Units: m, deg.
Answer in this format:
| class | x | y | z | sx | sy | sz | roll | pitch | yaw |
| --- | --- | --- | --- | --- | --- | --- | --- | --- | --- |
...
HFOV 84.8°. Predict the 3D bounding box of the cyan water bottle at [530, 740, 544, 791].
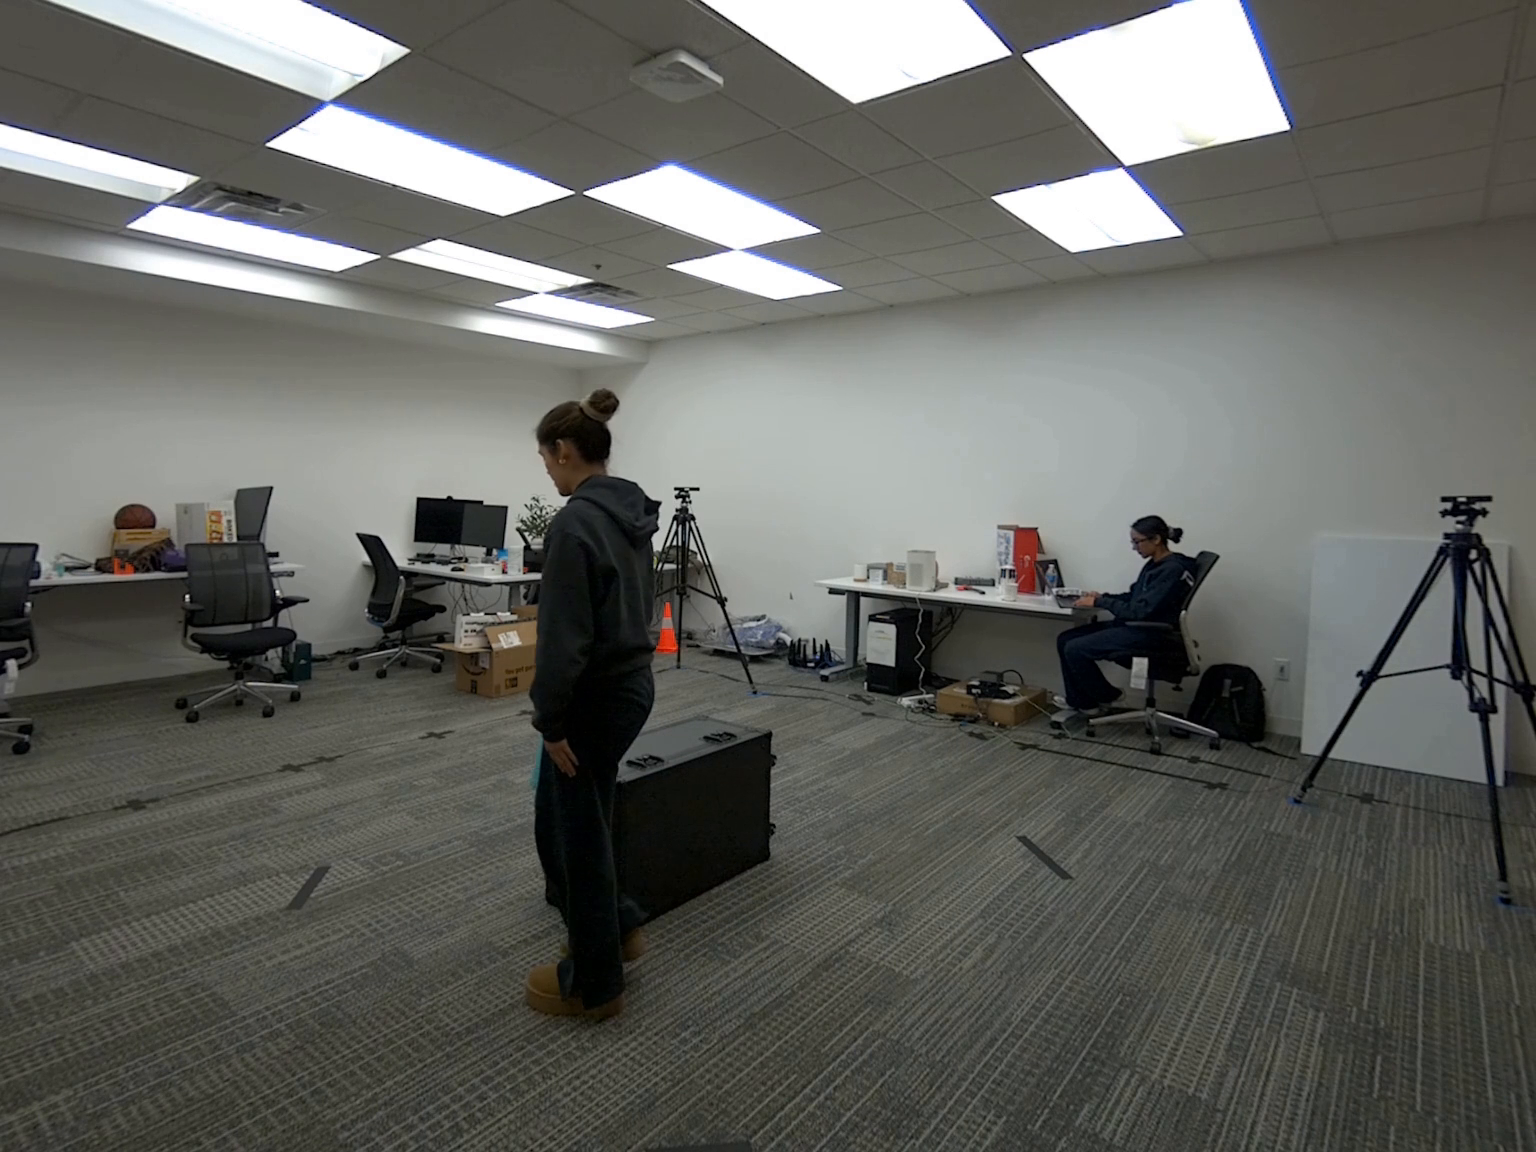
| class | x | y | z | sx | sy | sz | roll | pitch | yaw |
| --- | --- | --- | --- | --- | --- | --- | --- | --- | --- |
| cyan water bottle | -0.636 | 0.512 | 2.555 | 0.092 | 0.283 | 0.092 | 10 | 0 | -2 |
